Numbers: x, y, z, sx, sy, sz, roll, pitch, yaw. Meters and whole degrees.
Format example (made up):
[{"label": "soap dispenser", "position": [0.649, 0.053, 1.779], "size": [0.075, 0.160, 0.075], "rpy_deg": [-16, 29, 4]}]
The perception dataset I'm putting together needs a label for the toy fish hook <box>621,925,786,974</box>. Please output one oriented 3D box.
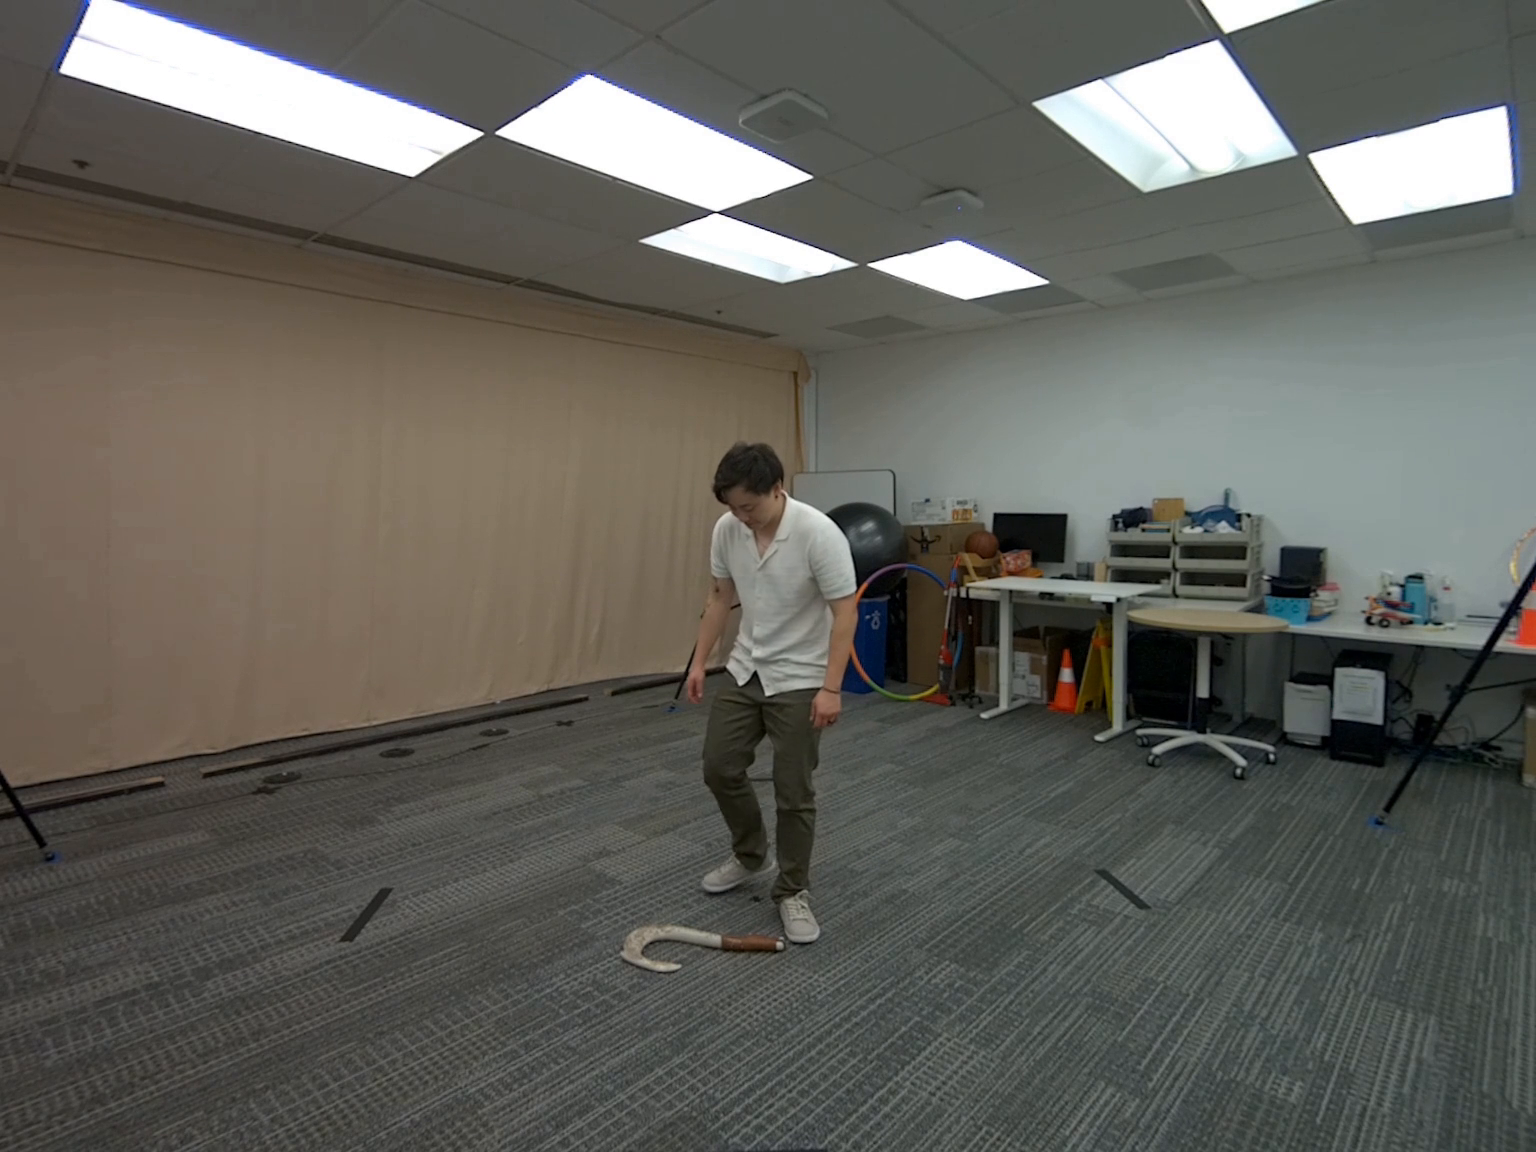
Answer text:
[{"label": "toy fish hook", "position": [-0.194, 1.158, 2.607], "size": [0.510, 0.048, 0.225], "rpy_deg": [-1, 12, 6]}]
